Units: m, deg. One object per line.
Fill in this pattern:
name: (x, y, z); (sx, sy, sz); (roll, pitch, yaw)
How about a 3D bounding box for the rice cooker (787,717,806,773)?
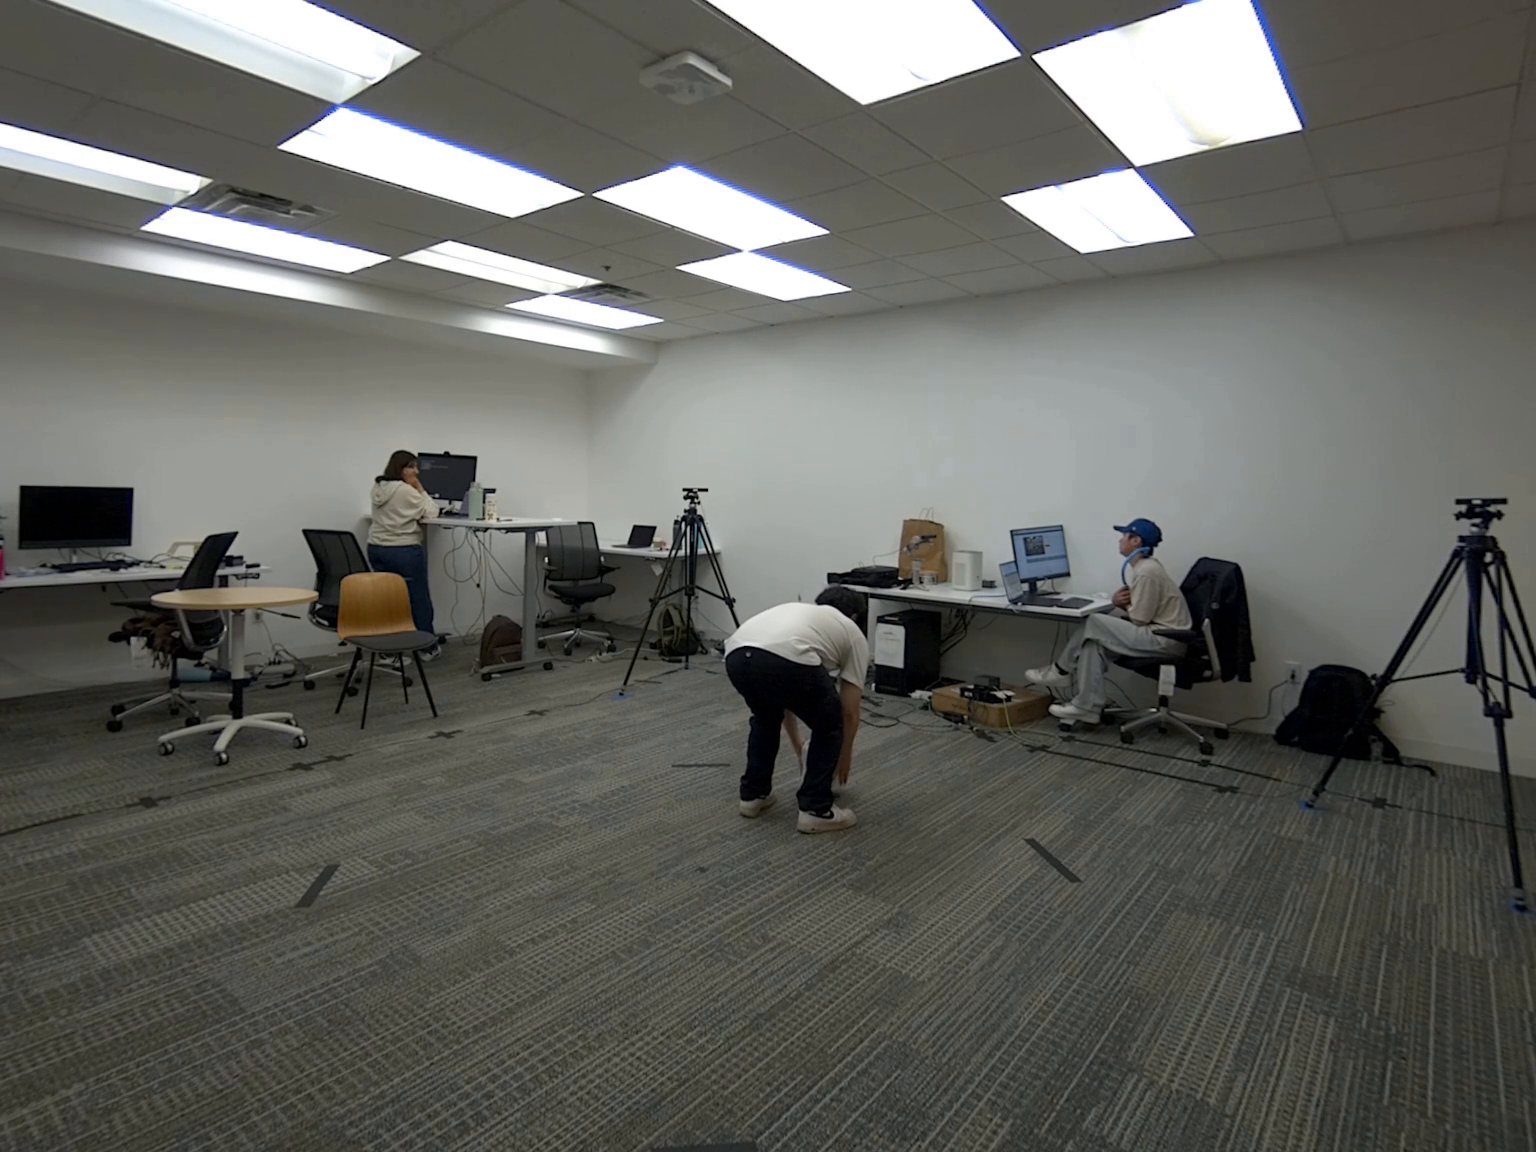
rice cooker: (0.258, 0.841, 3.899); (0.220, 0.232, 0.219); (1, 5, -5)
